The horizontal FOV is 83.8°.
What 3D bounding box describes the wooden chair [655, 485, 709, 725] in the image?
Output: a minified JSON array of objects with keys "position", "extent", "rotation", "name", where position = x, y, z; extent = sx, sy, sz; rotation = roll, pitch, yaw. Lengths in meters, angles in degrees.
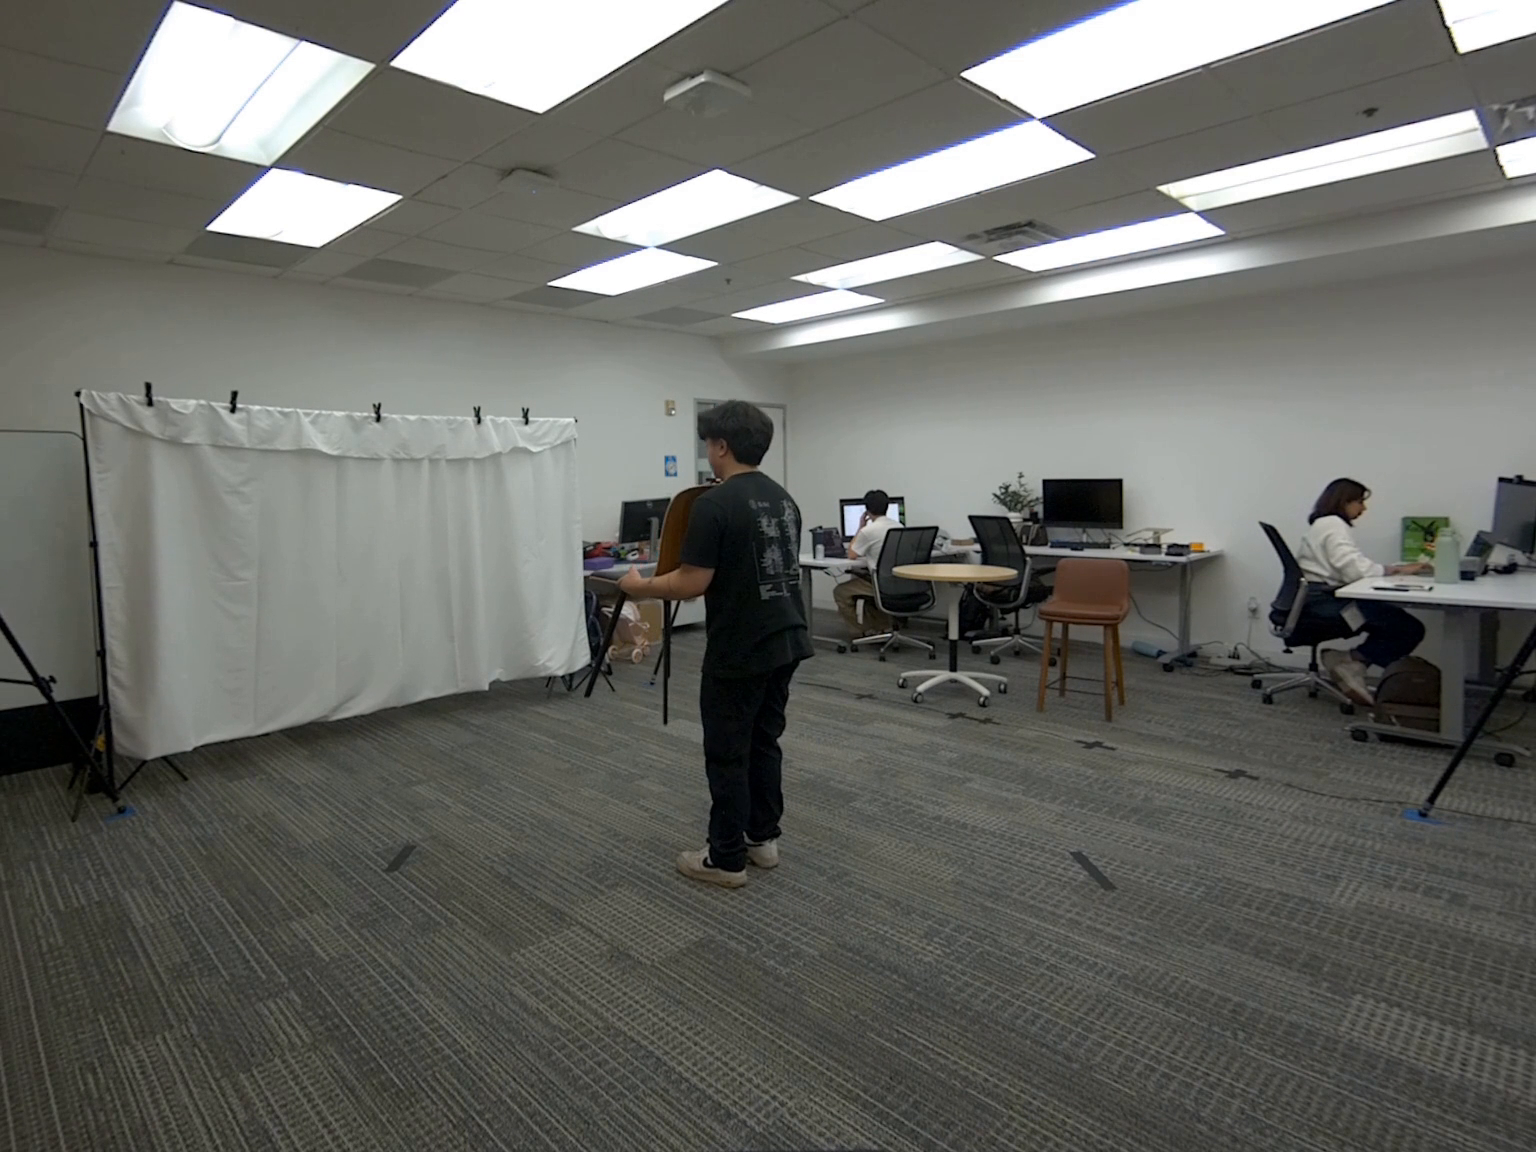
[{"position":[-0.375,0.058,3.270],"extent":[0.541,0.870,0.466],"rotation":[12,12,40],"name":"wooden chair"}]
